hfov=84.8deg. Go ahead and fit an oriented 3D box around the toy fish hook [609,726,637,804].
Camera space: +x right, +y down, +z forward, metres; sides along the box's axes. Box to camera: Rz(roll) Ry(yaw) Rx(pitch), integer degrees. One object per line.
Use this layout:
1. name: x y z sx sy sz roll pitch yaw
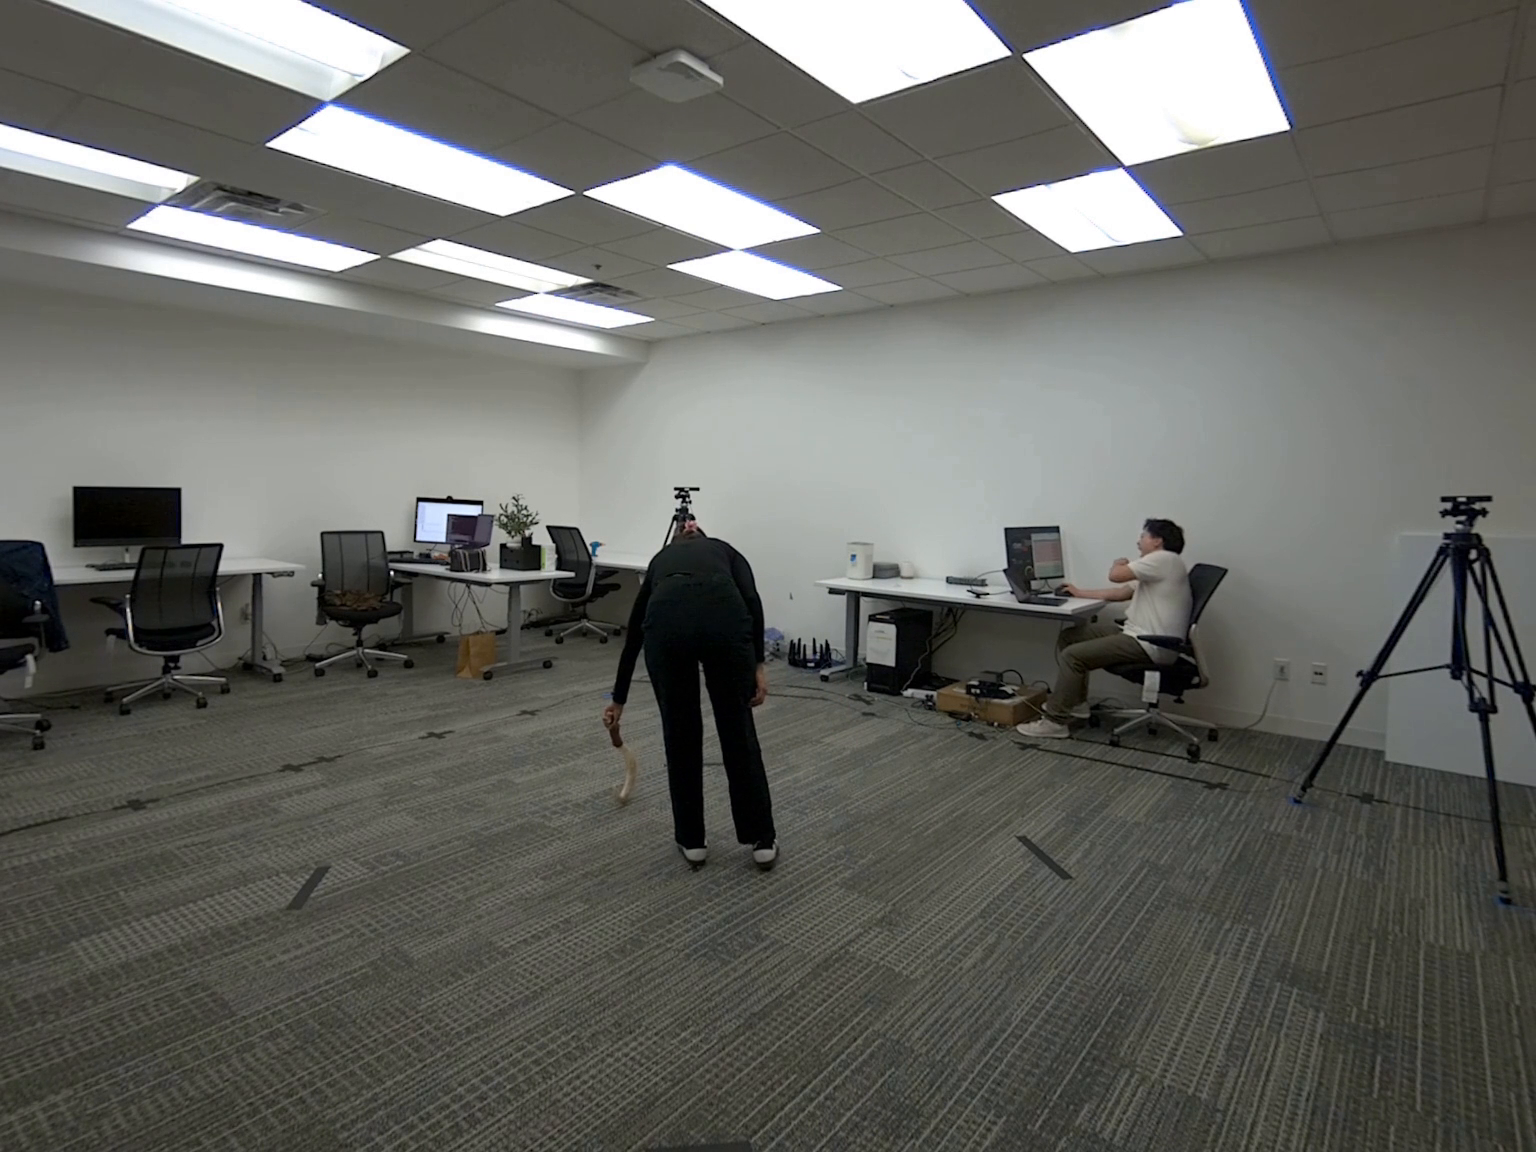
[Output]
1. toy fish hook: -0.654 0.786 3.648 0.049 0.489 0.229 -1 42 11
